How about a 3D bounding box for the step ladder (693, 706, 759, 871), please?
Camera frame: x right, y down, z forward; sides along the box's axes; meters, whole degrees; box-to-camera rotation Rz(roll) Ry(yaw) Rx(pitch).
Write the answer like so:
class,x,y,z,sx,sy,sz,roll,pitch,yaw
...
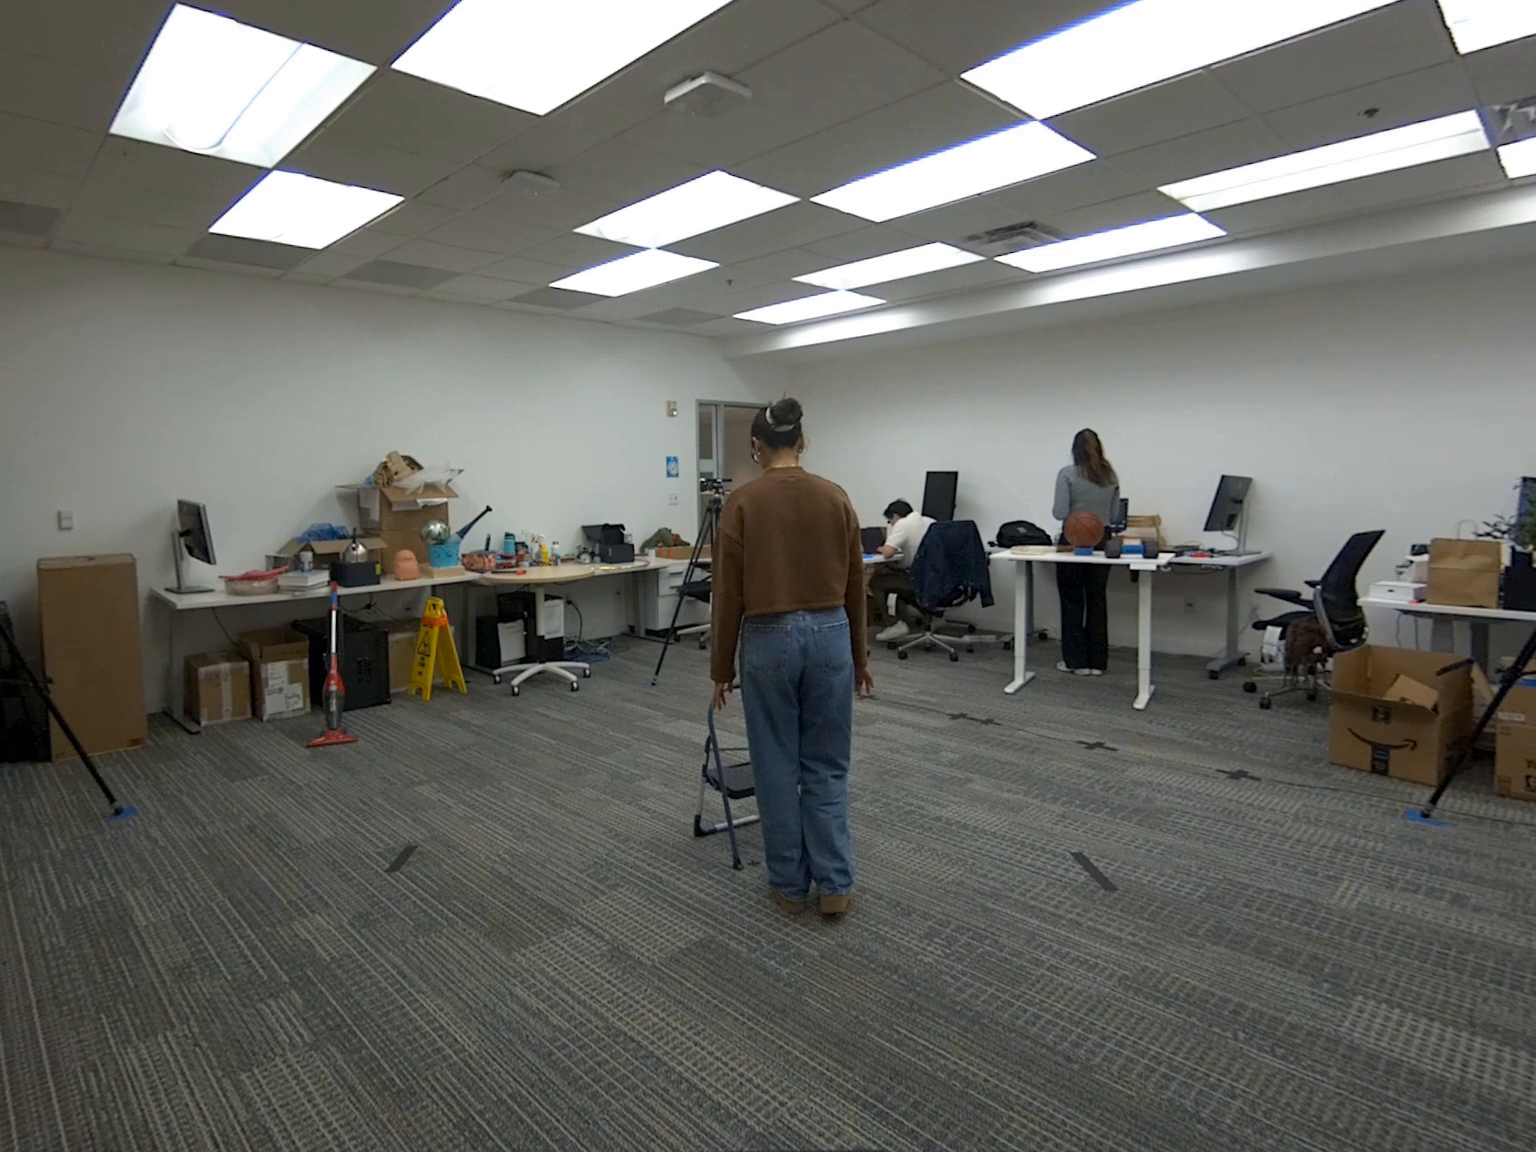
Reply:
class,x,y,z,sx,sy,sz,roll,pitch,yaw
step ladder,-0.029,0.720,3.287,0.420,0.604,0.359,-4,5,-33
